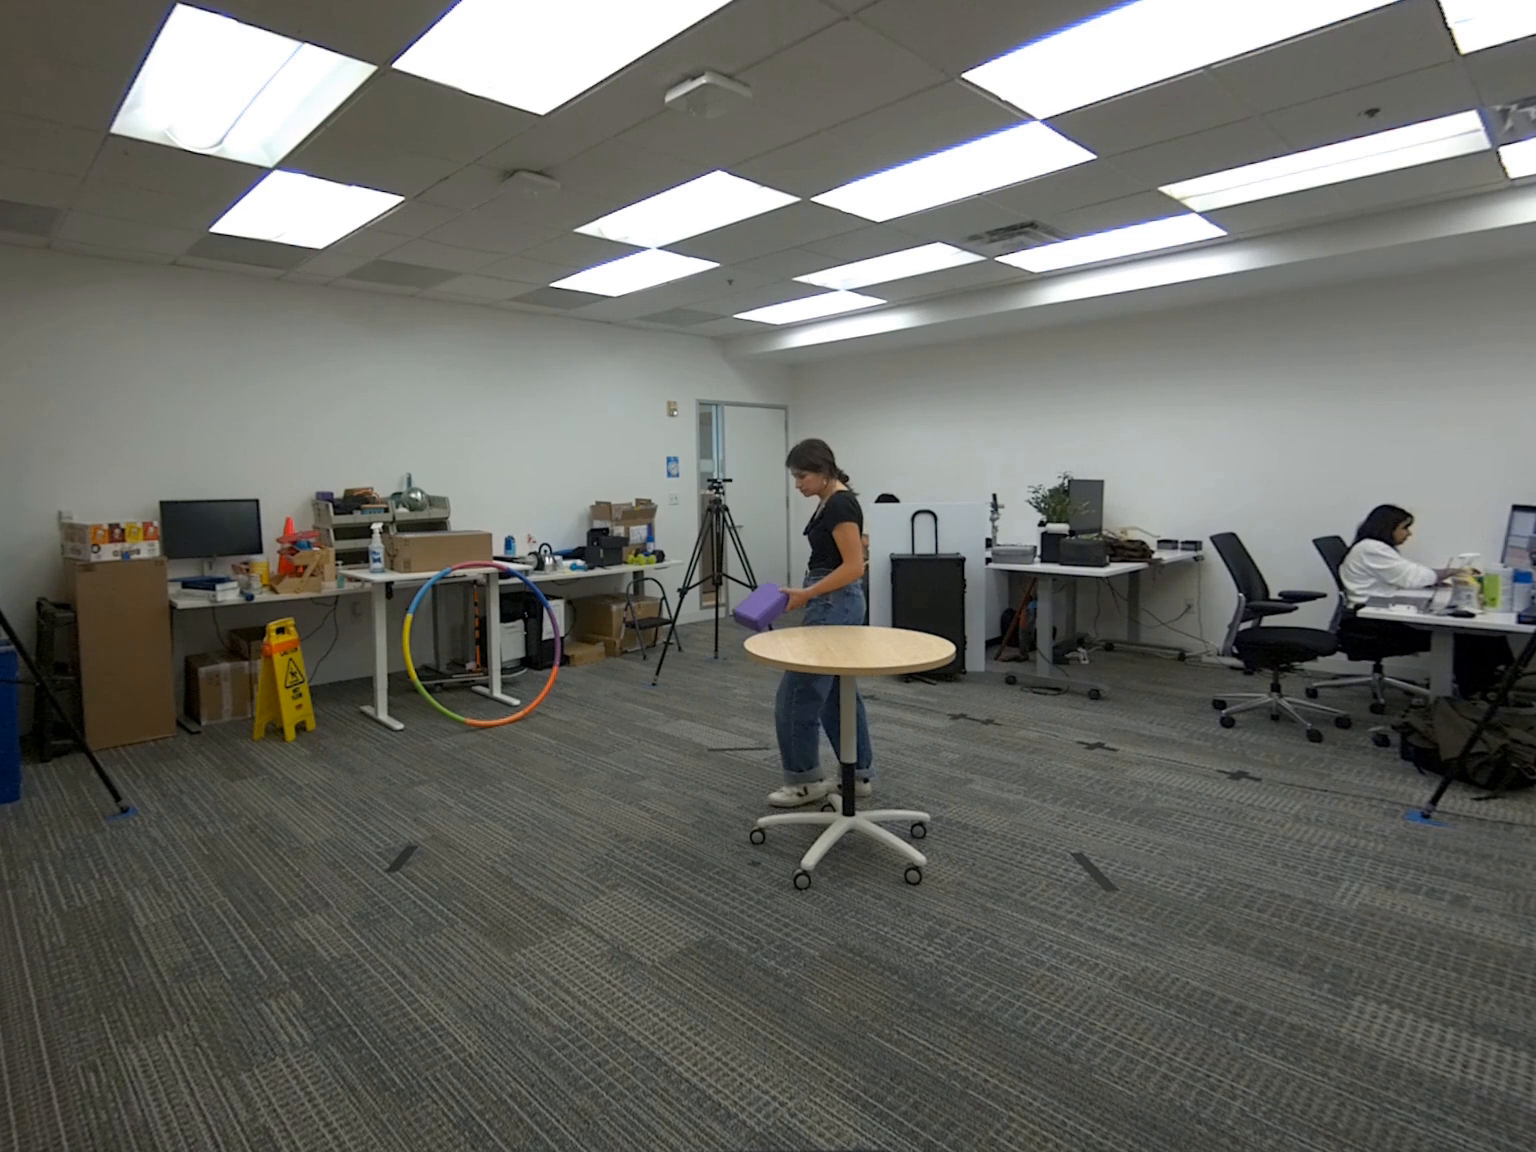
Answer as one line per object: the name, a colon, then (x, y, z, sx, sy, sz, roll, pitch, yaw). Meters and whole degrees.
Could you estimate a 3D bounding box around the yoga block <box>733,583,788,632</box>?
yoga block: (-0.032, 0.131, 3.601, 0.154, 0.074, 0.228, 18, 47, 40)
